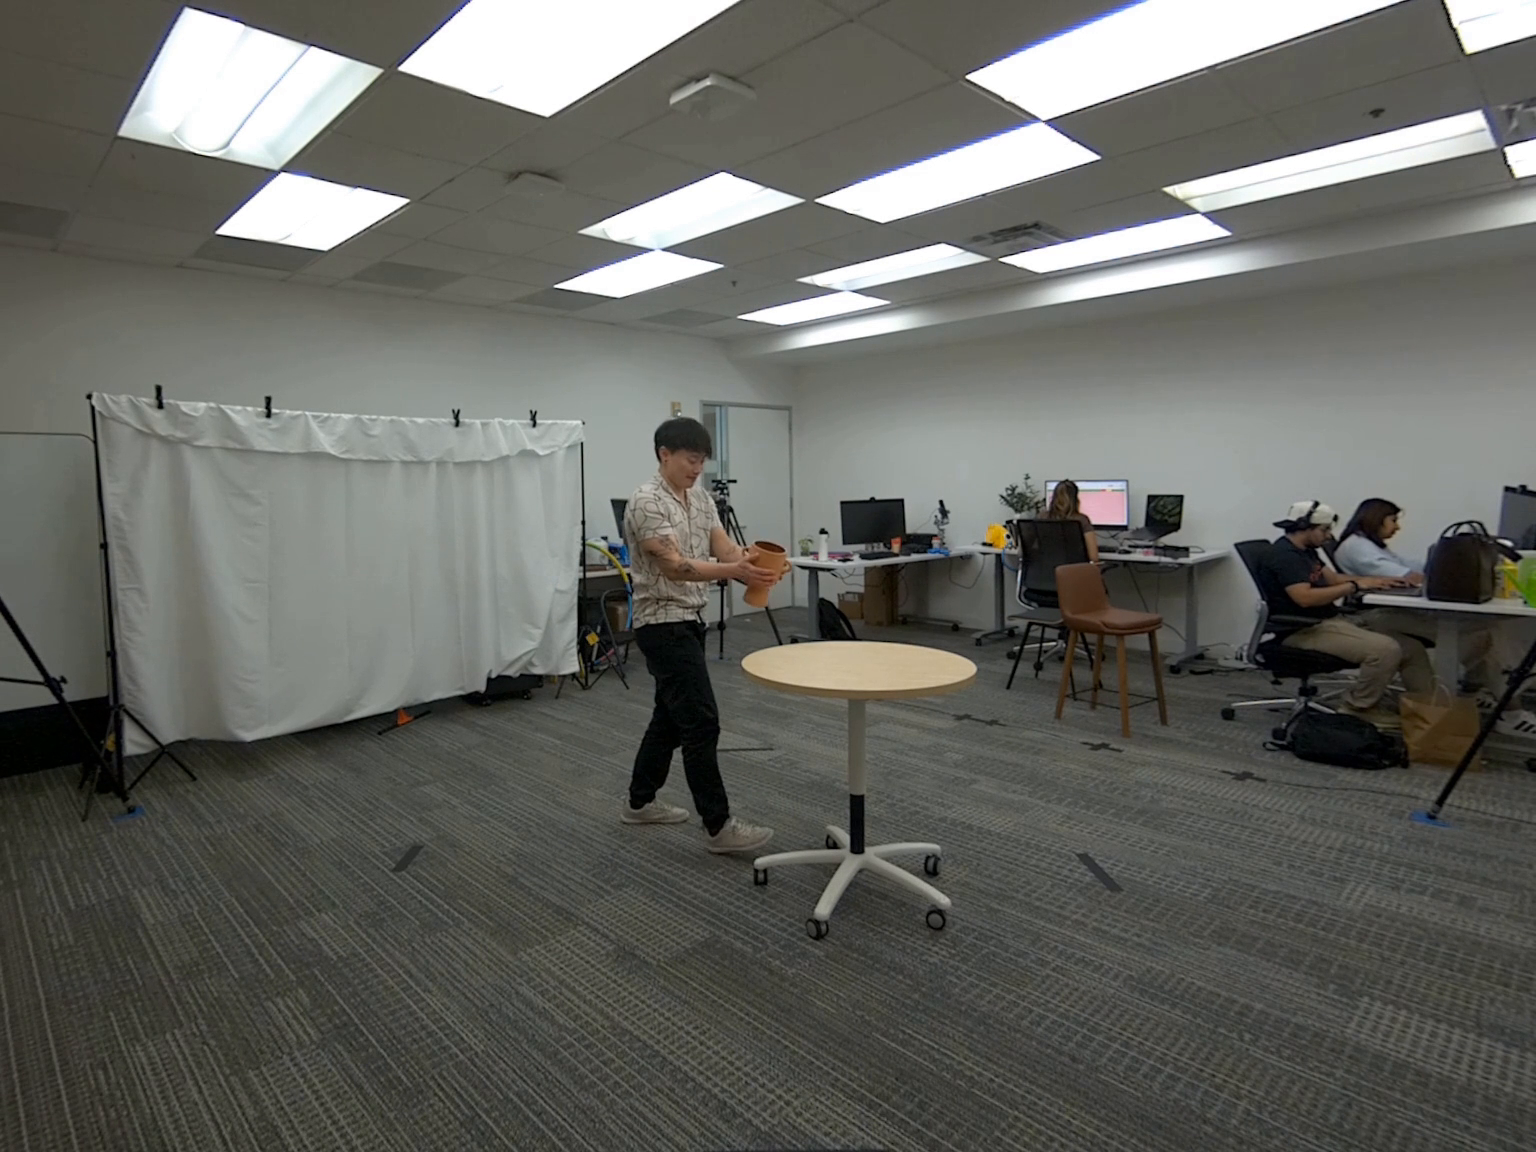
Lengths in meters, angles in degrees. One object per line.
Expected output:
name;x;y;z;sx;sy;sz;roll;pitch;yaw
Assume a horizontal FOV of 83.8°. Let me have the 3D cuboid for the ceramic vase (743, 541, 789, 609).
ceramic vase;-0.019;-0.002;3.127;0.131;0.217;0.165;0;21;-35
